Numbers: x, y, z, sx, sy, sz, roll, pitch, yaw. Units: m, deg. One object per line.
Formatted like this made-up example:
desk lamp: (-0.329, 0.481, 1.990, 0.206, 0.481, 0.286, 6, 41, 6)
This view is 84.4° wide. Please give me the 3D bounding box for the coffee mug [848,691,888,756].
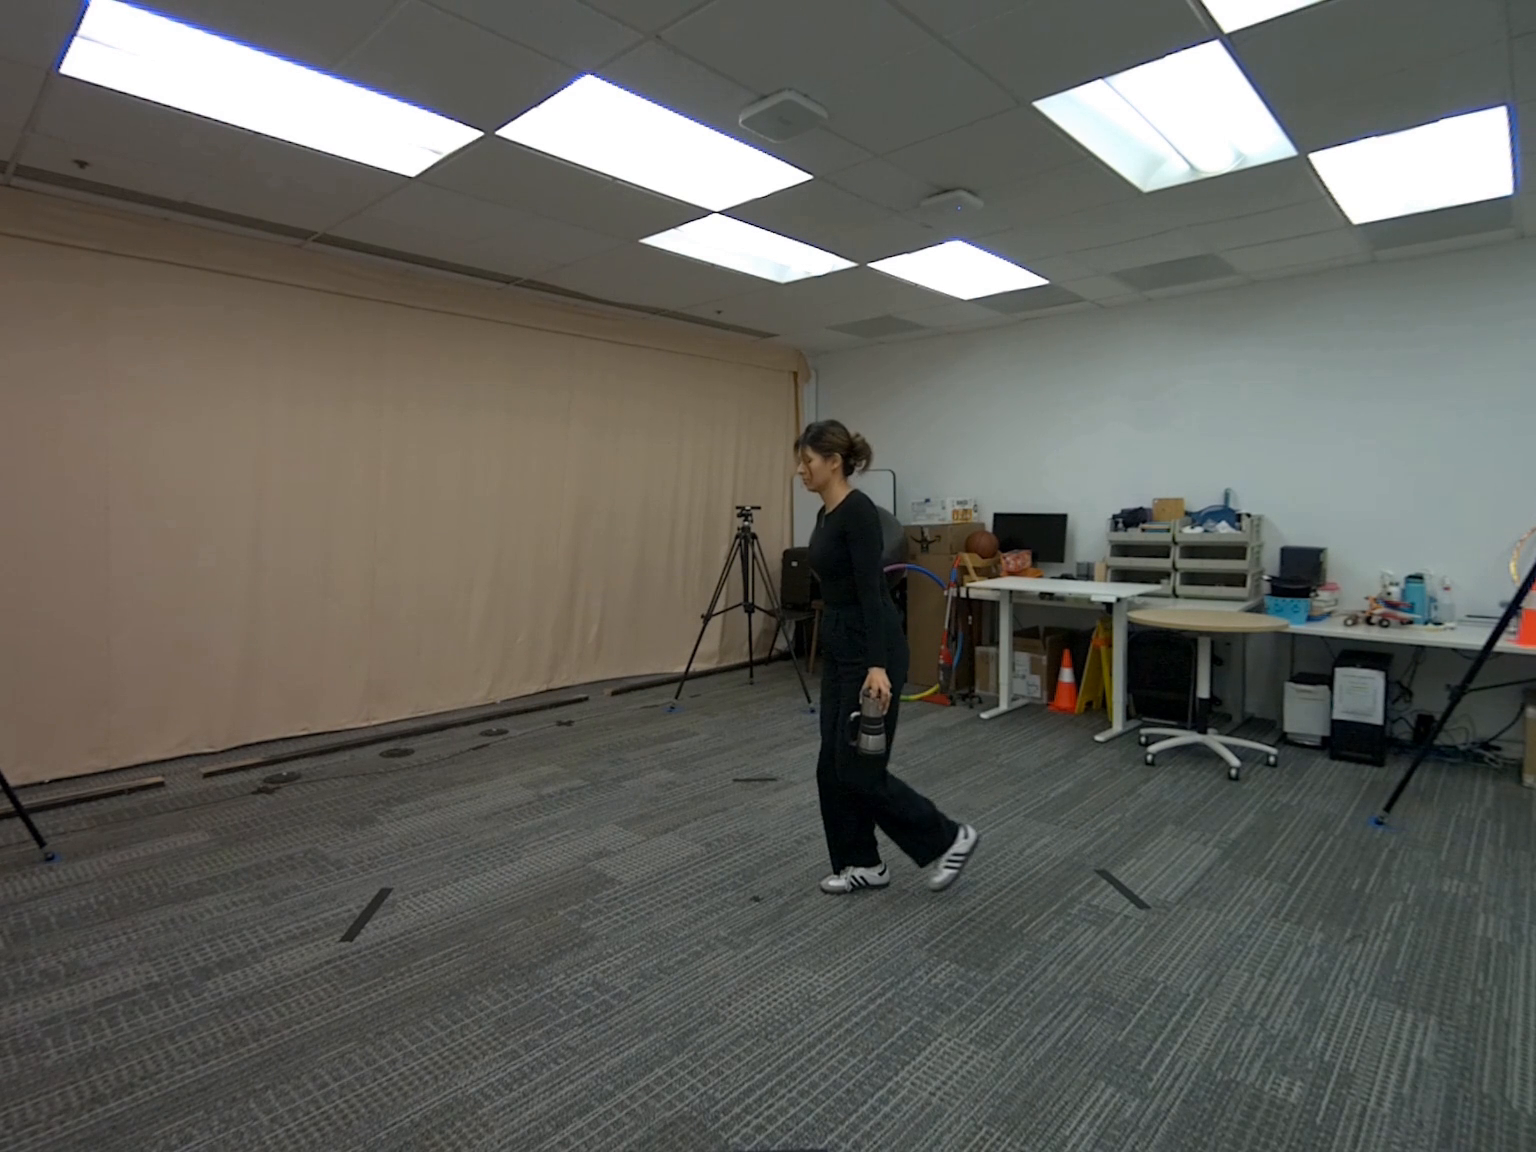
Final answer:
coffee mug: (0.300, 0.462, 2.635, 0.120, 0.201, 0.090, -4, 17, -15)
